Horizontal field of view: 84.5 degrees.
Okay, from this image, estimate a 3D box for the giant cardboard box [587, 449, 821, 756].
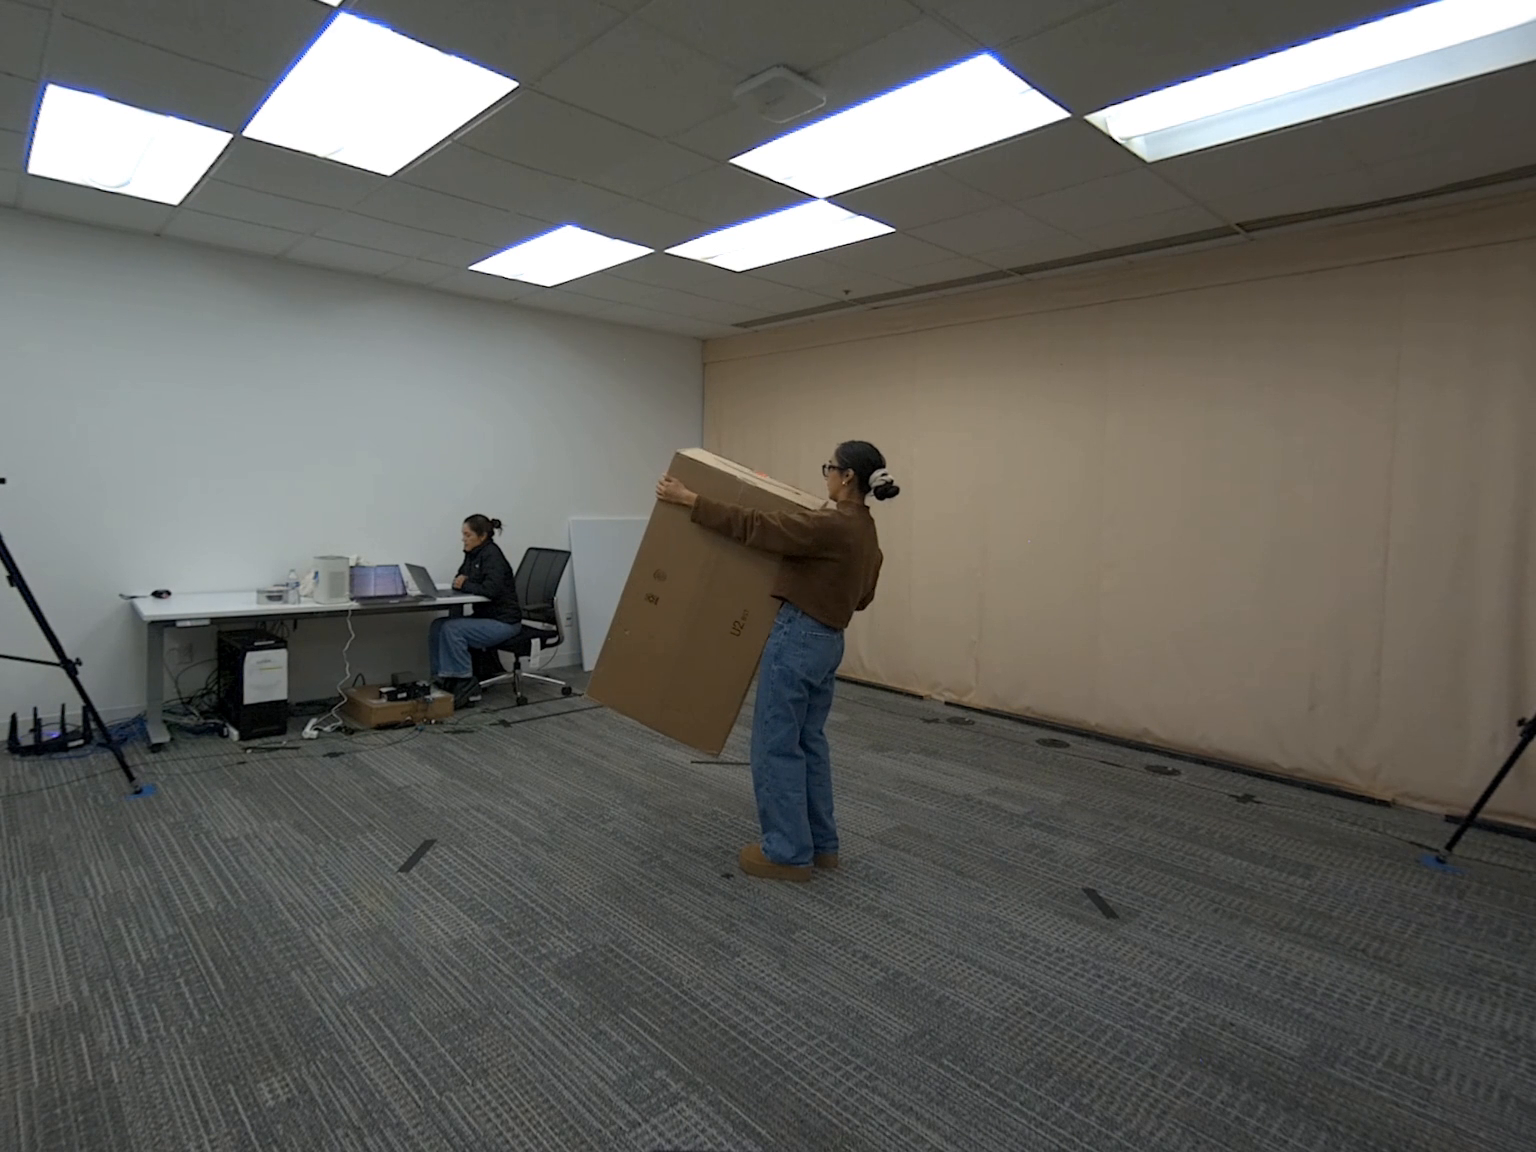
[{"bbox_3d":[-0.242,0.082,3.325,0.582,1.021,0.425,23,12,6],"label":"giant cardboard box"}]
